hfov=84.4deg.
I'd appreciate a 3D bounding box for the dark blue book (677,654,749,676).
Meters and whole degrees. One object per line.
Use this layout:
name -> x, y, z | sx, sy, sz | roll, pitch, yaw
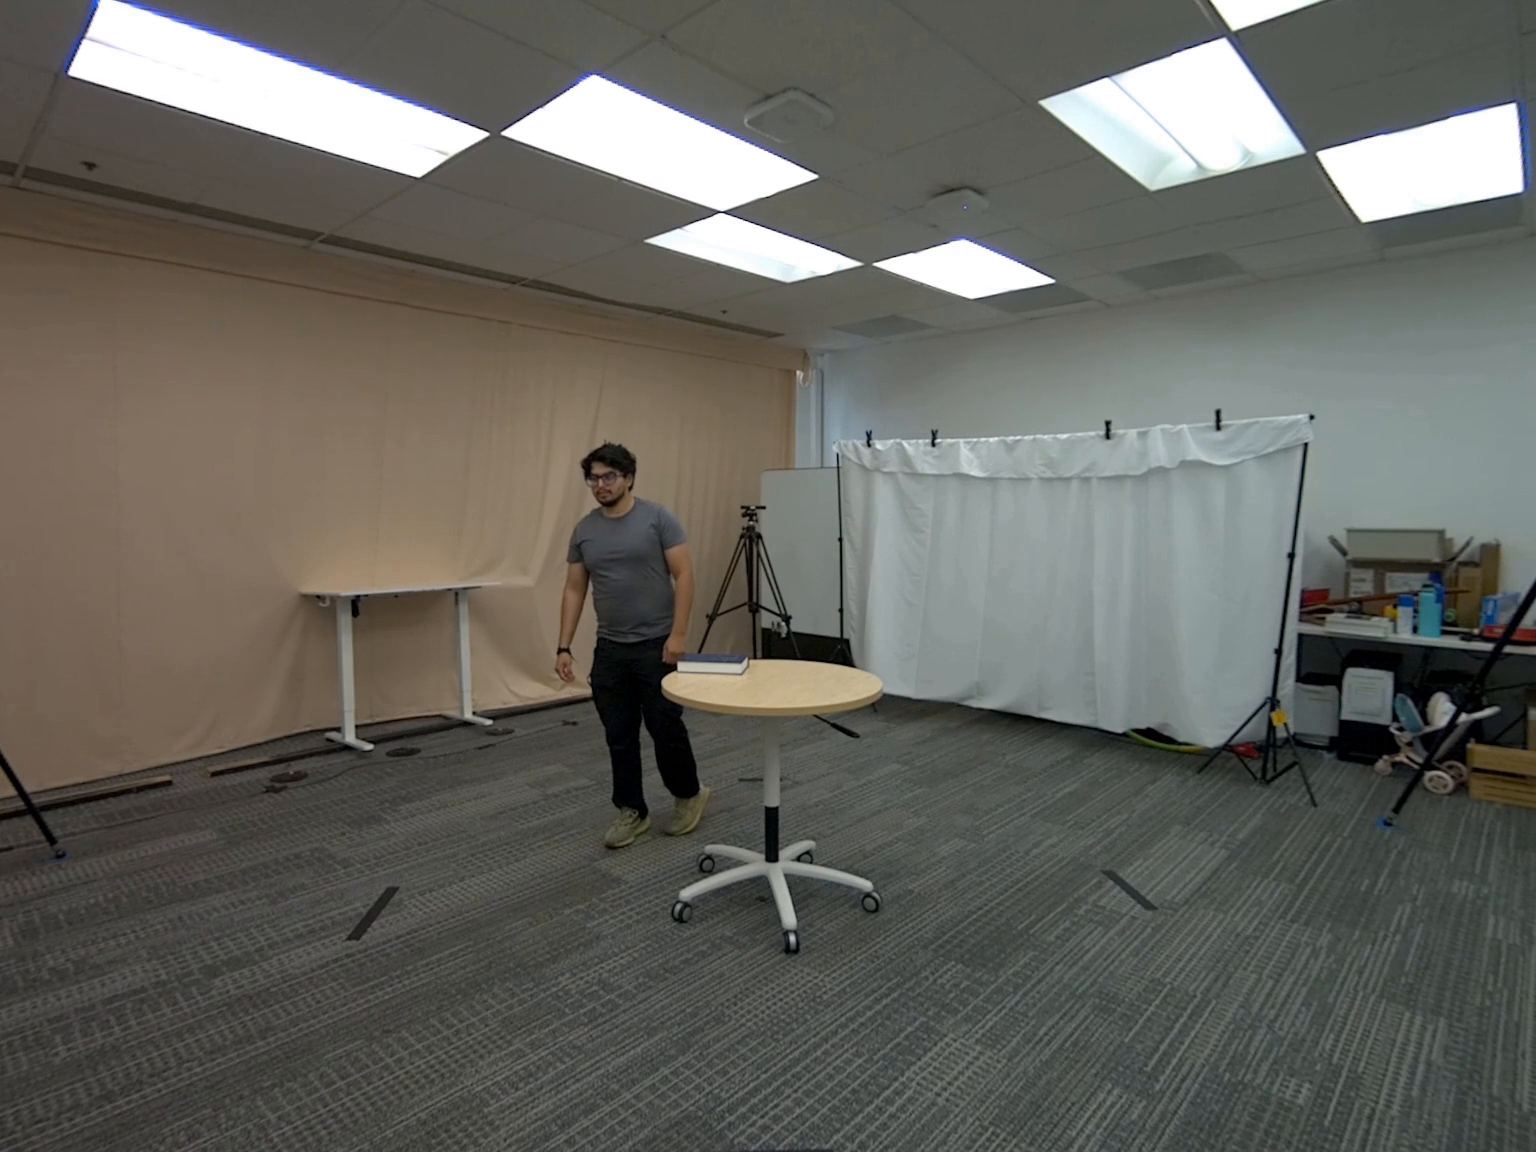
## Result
dark blue book -> -0.193, 0.326, 3.141 | 0.248, 0.045, 0.162 | 1, 6, 9
